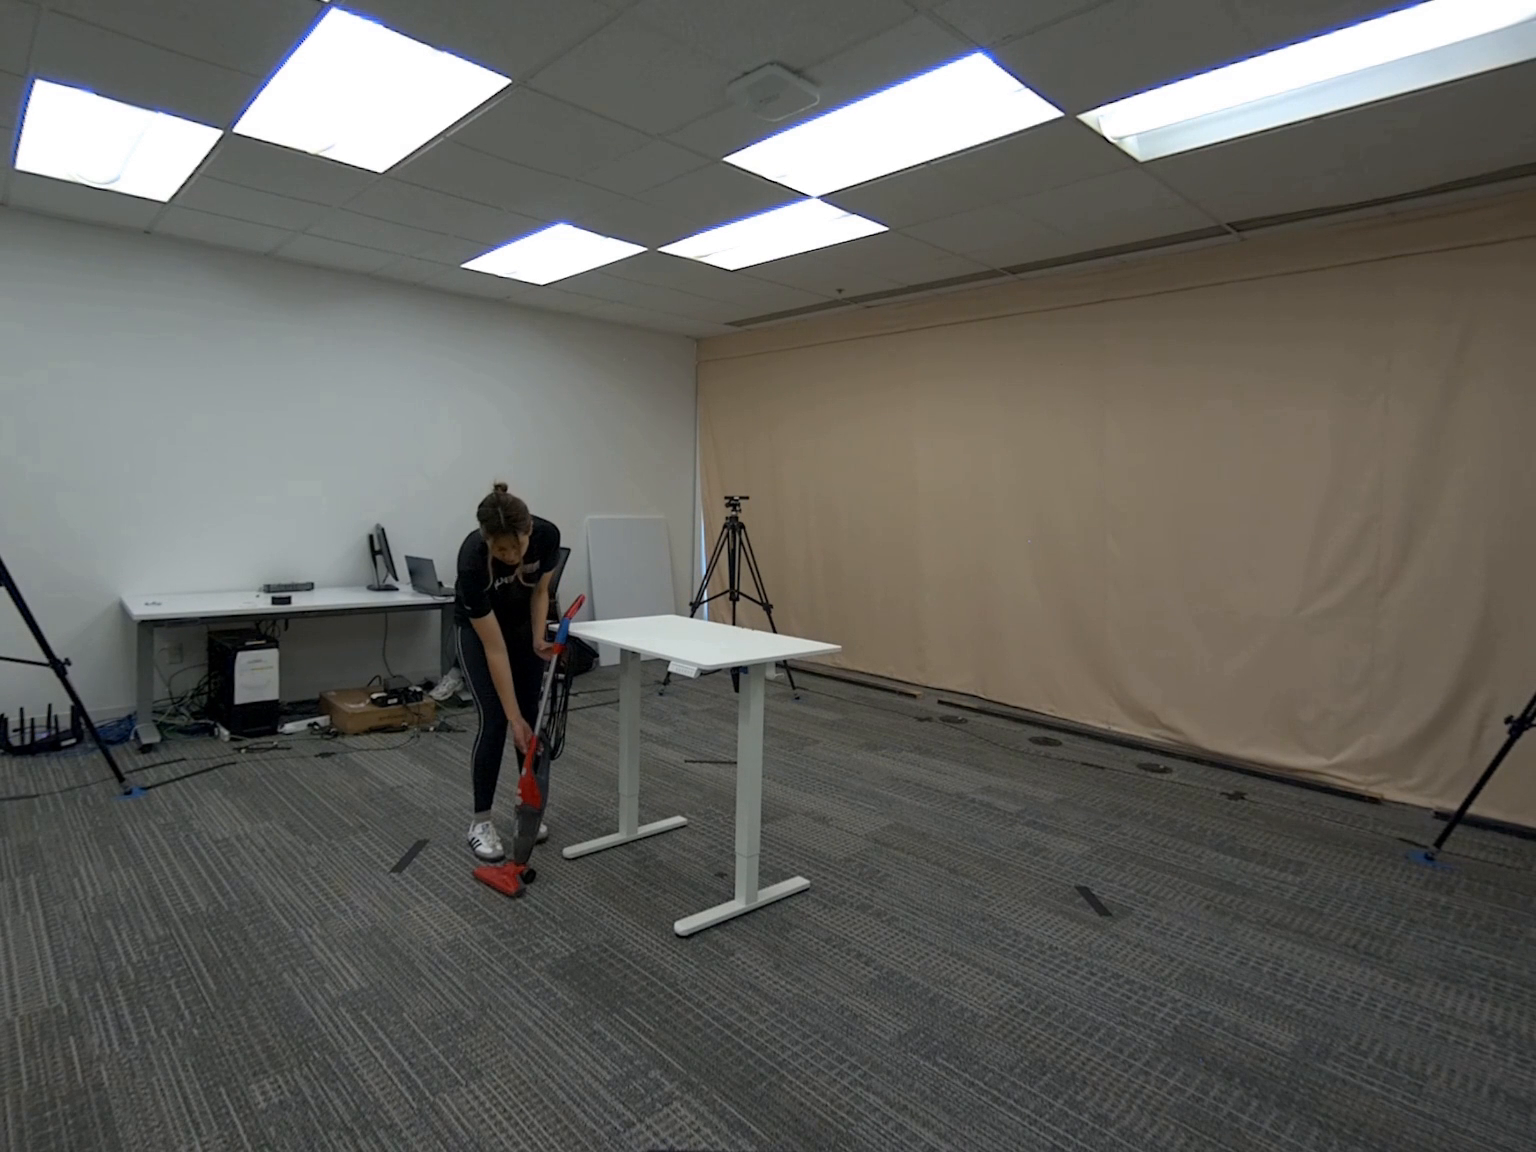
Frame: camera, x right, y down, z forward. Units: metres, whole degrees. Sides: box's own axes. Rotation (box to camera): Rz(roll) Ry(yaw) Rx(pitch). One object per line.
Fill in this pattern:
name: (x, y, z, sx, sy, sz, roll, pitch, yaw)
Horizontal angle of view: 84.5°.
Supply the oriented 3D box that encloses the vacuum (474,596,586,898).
vacuum: (-0.844, 0.592, 3.093, 0.259, 1.055, 0.140, 1, -14, 43)
